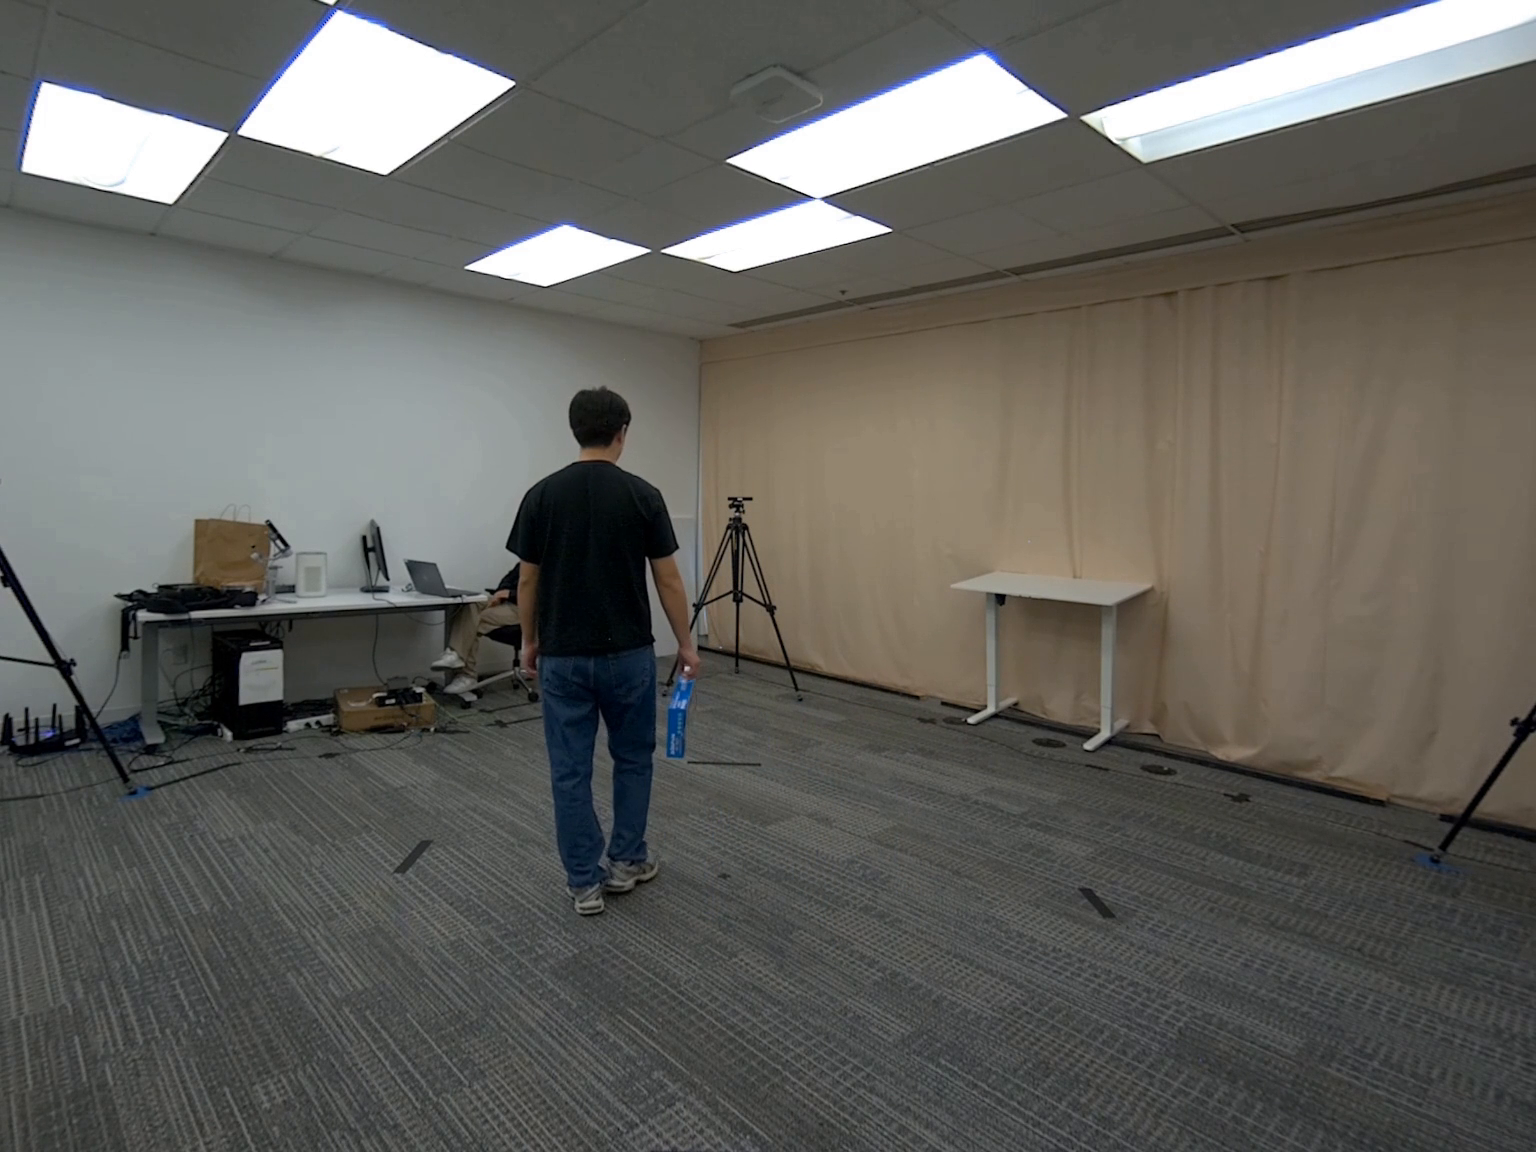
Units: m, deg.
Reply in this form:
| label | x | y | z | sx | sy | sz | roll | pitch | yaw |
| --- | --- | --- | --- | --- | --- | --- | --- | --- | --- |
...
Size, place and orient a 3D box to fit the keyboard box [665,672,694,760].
| label | x | y | z | sx | sy | sz | roll | pitch | yaw |
| --- | --- | --- | --- | --- | --- | --- | --- | --- | --- |
| keyboard box | -0.304 | 0.470 | 2.980 | 0.059 | 0.174 | 0.440 | 3 | 12 | 0 |
